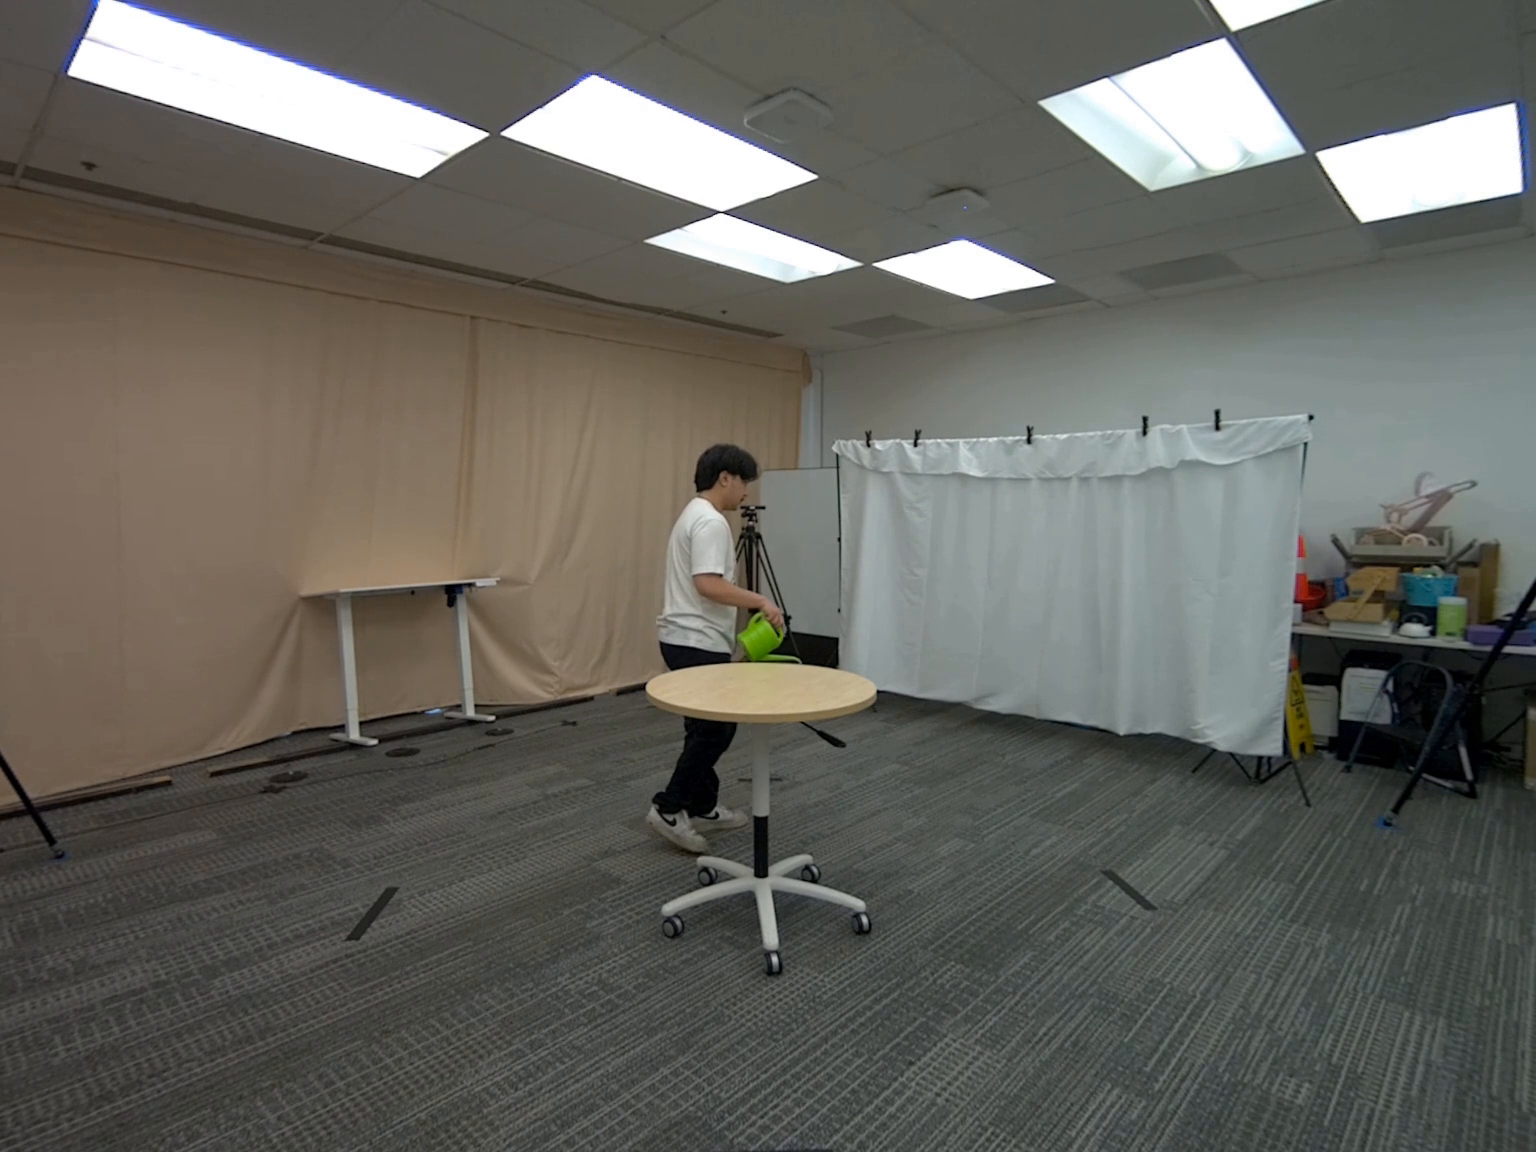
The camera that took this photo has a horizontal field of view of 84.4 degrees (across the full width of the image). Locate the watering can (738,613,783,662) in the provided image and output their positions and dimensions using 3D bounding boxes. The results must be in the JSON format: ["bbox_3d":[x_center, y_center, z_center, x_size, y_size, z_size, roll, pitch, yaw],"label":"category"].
[{"bbox_3d":[0.007,0.288,3.371,0.176,0.279,0.098,-32,-4,-7],"label":"watering can"}]
